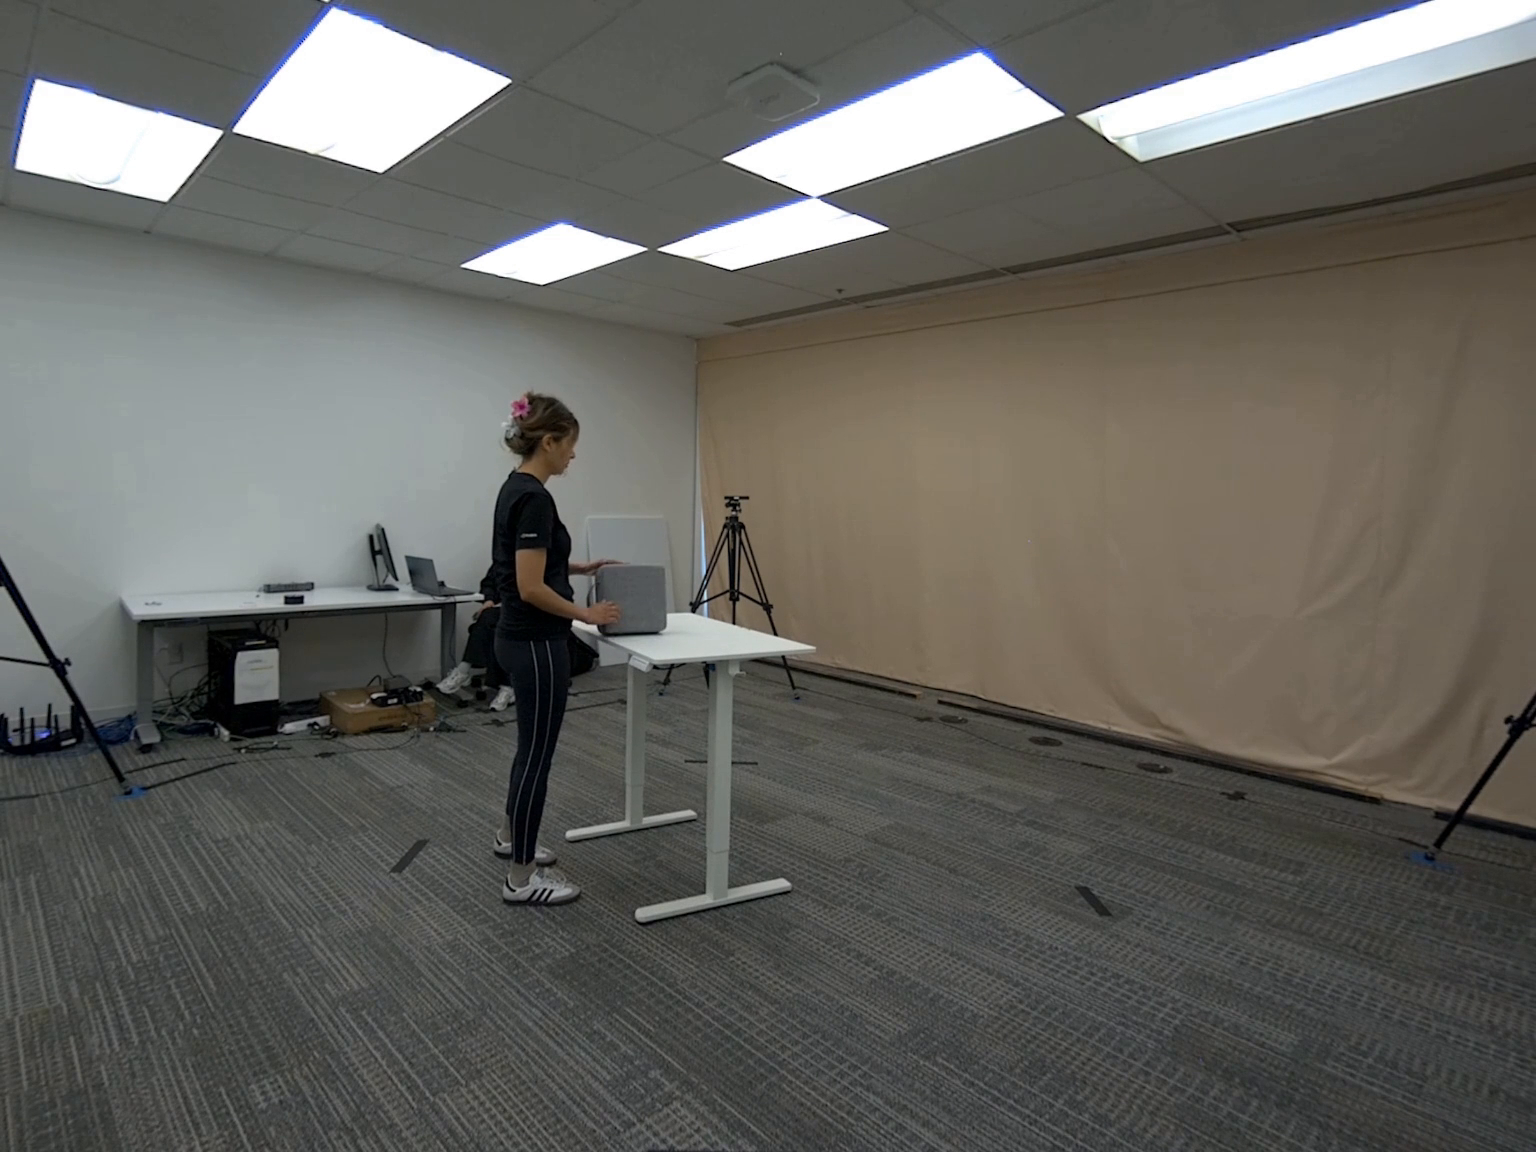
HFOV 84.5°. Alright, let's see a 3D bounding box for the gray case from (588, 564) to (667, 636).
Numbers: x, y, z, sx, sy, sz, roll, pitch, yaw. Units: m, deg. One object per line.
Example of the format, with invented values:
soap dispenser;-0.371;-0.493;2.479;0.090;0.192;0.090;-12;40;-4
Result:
gray case;-0.509;0.080;3.075;0.256;0.258;0.106;-1;-4;-28
